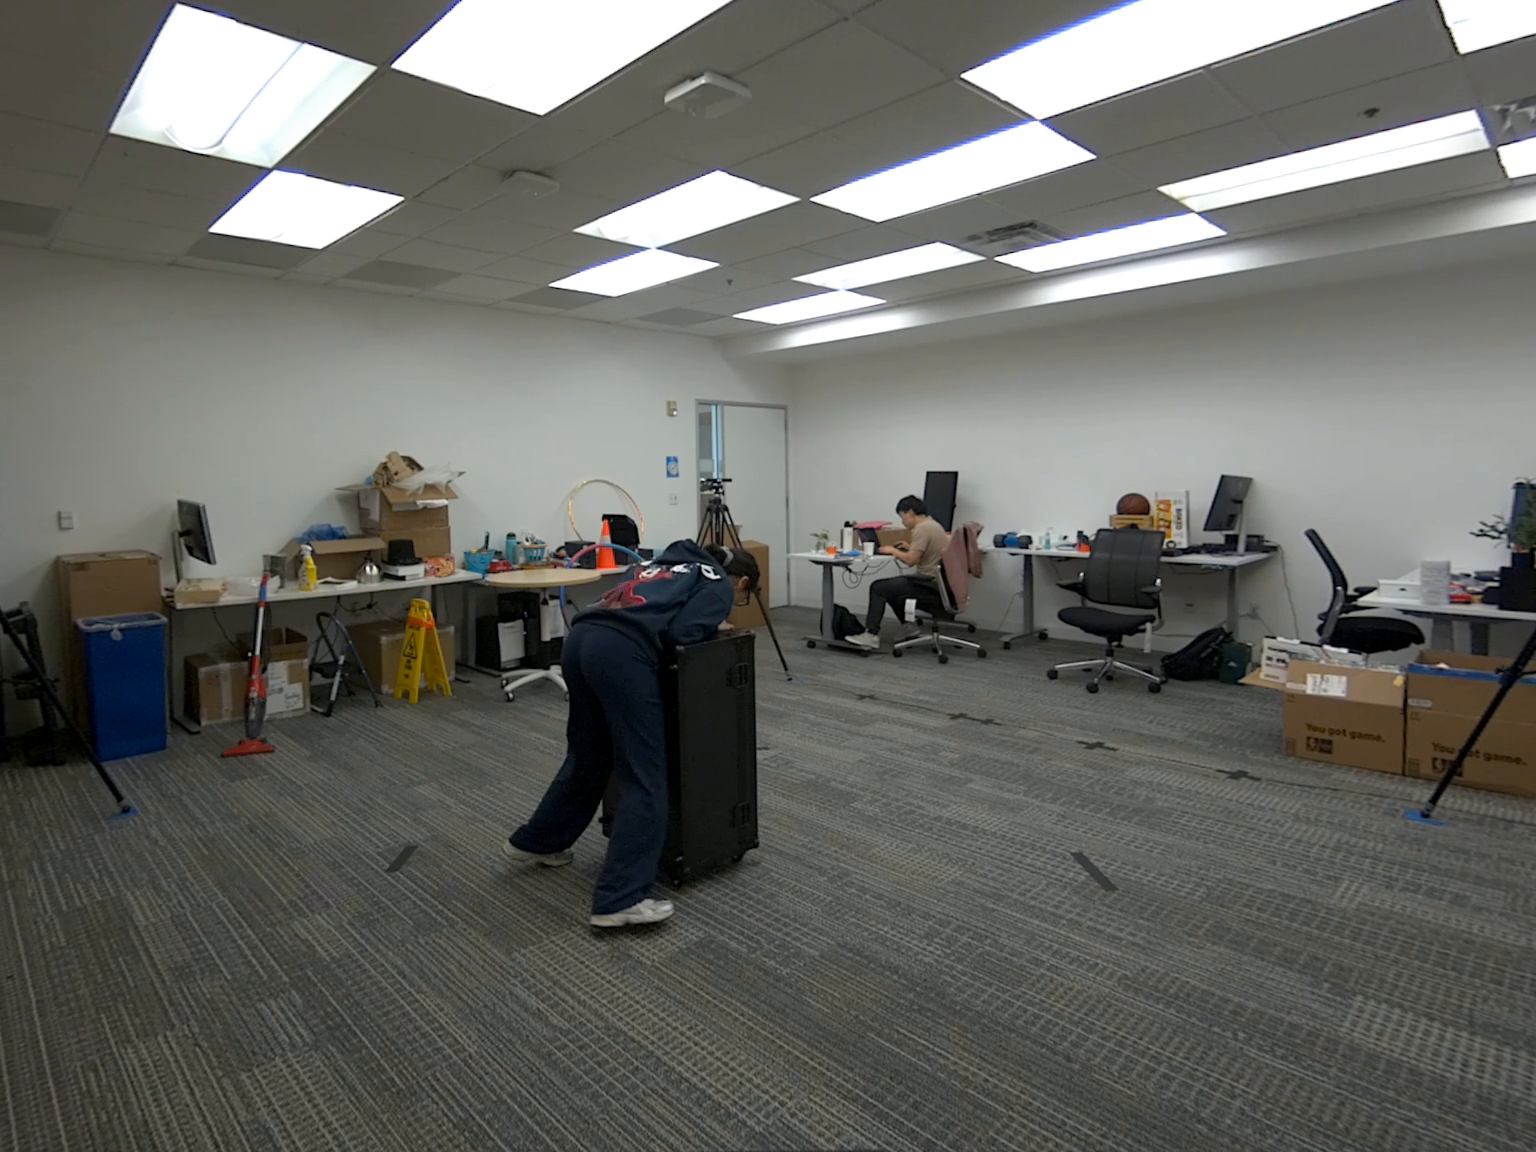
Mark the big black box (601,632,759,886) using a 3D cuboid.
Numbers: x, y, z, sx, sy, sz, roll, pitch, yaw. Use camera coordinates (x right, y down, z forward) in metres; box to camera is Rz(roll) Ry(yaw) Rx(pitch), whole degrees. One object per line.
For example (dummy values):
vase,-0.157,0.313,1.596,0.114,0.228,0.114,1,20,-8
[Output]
big black box,-0.331,0.630,3.108,0.386,0.857,0.537,-6,7,-44
